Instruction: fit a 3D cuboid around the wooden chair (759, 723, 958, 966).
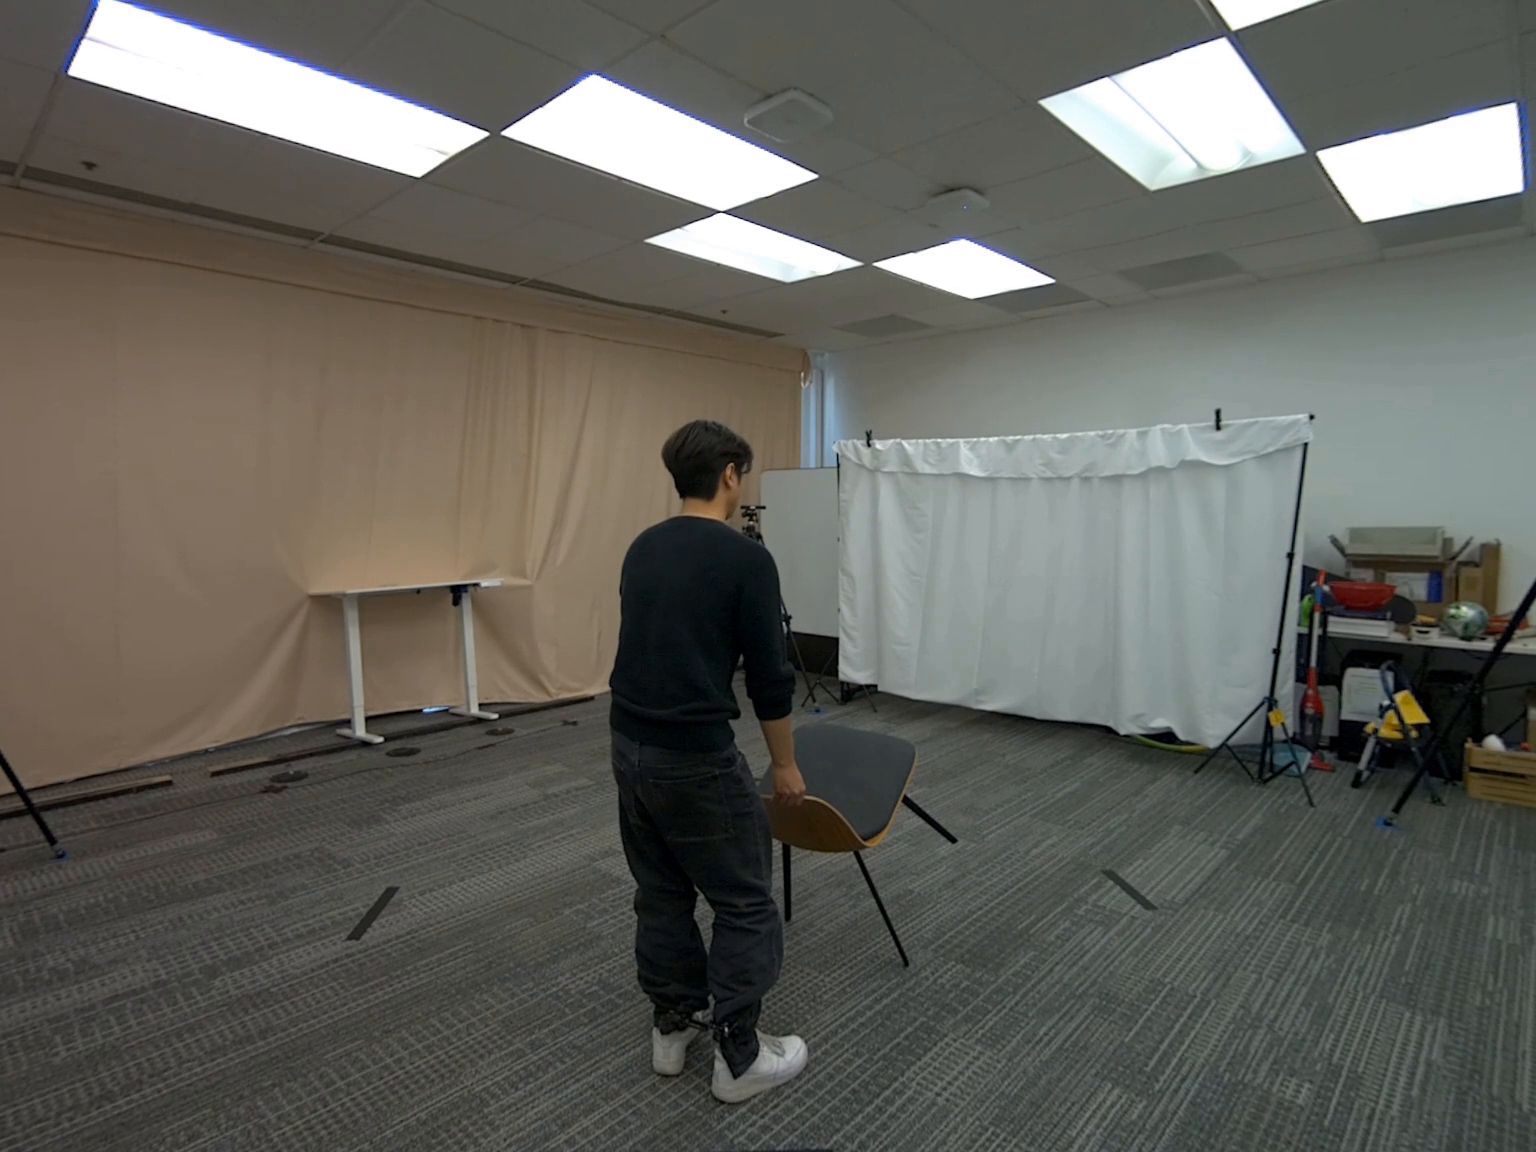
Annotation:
[{"bbox_3d":[0.207,0.693,2.609,0.494,0.851,0.522,3,46,38],"label":"wooden chair"}]
